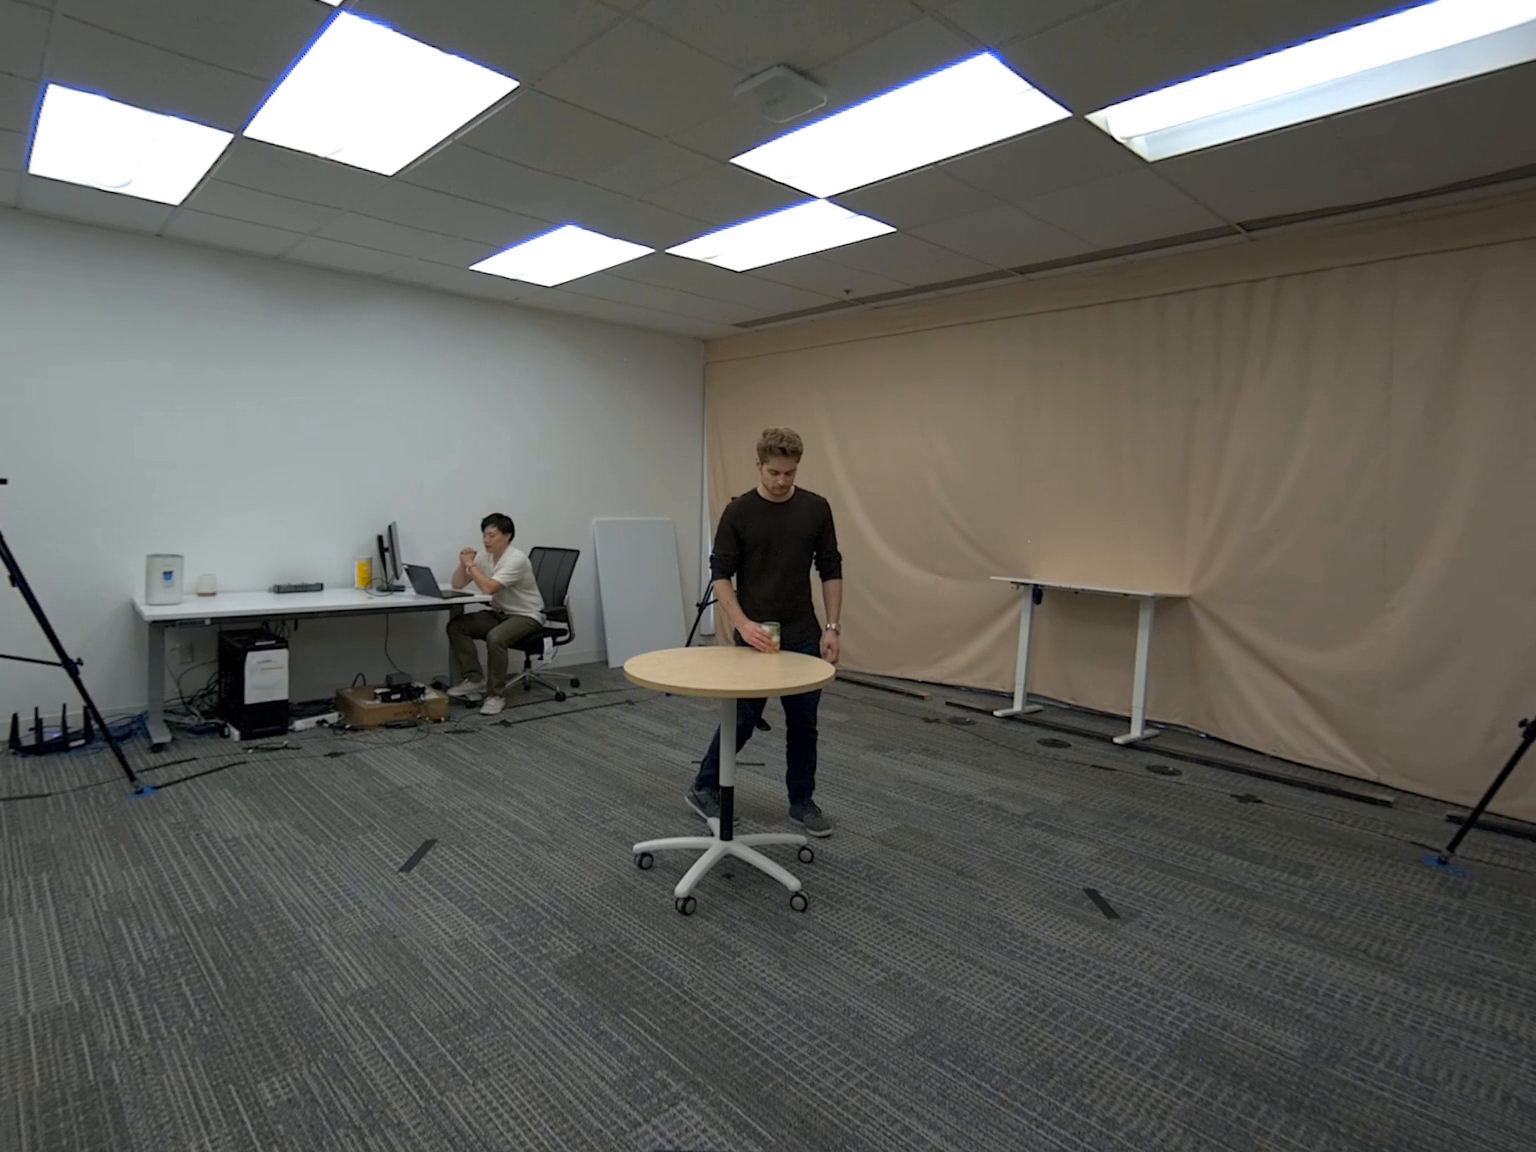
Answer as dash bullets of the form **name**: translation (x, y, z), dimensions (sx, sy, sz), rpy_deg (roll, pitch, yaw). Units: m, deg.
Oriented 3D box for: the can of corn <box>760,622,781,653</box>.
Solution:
- **can of corn**: translation (-0.004, 0.245, 3.343), dimensions (0.074, 0.110, 0.074), rpy_deg (-2, 6, -1)
